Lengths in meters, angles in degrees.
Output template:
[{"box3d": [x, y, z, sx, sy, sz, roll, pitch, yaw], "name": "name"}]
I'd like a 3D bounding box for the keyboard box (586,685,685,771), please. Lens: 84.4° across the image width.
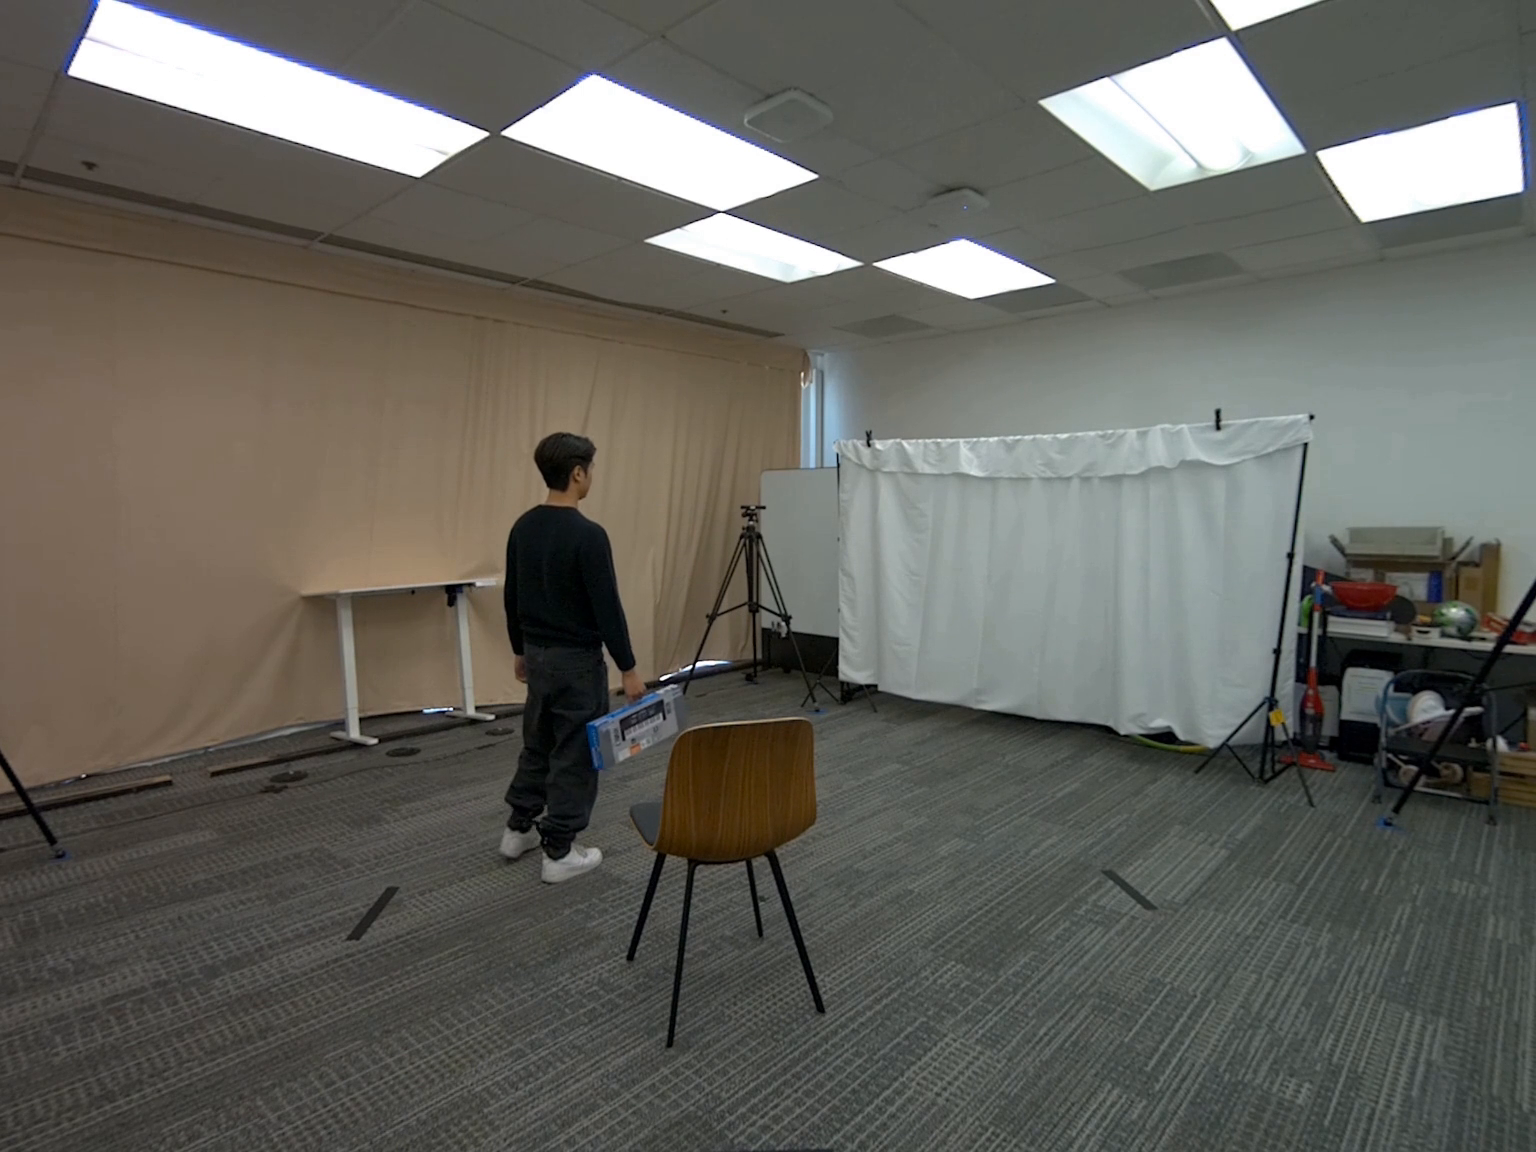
[{"box3d": [-0.491, 0.566, 3.155, 0.061, 0.174, 0.426, 0, 14, 42], "name": "keyboard box"}]
